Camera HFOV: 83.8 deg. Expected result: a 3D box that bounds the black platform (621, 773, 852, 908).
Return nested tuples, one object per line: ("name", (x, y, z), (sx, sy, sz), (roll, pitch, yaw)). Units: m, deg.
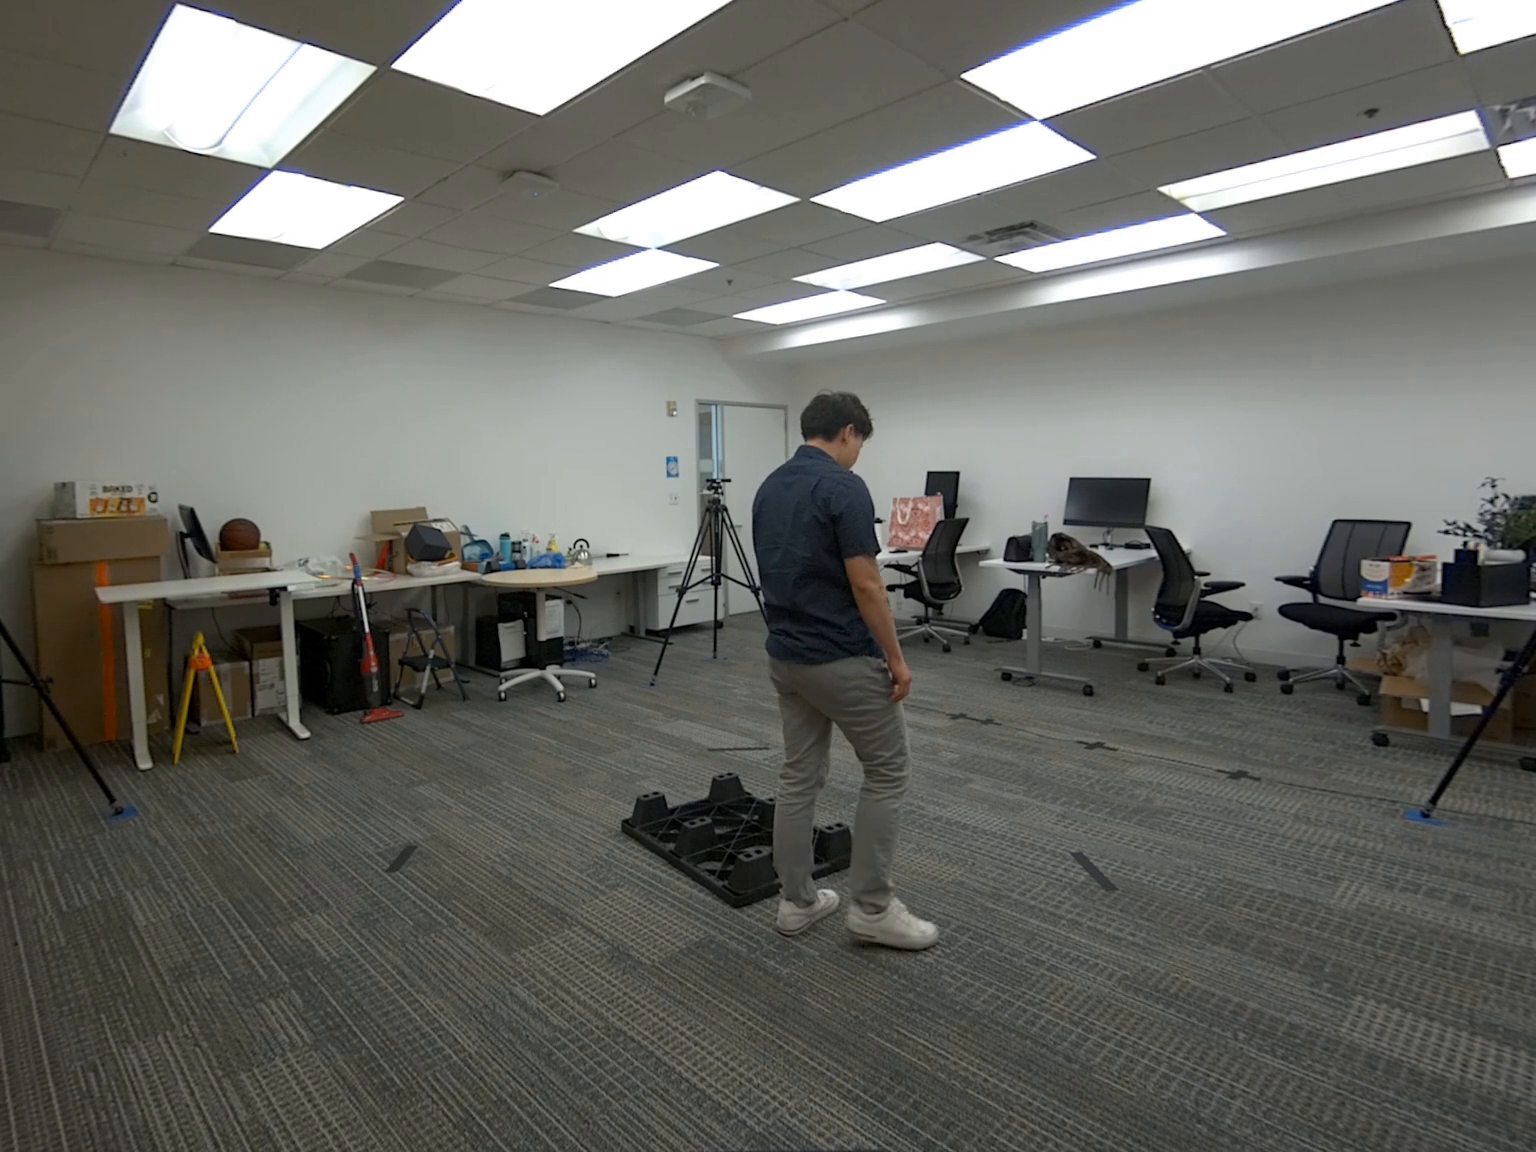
("black platform", (-0.107, 0.960, 3.264), (0.590, 0.142, 0.830), (-6, 9, -37))
